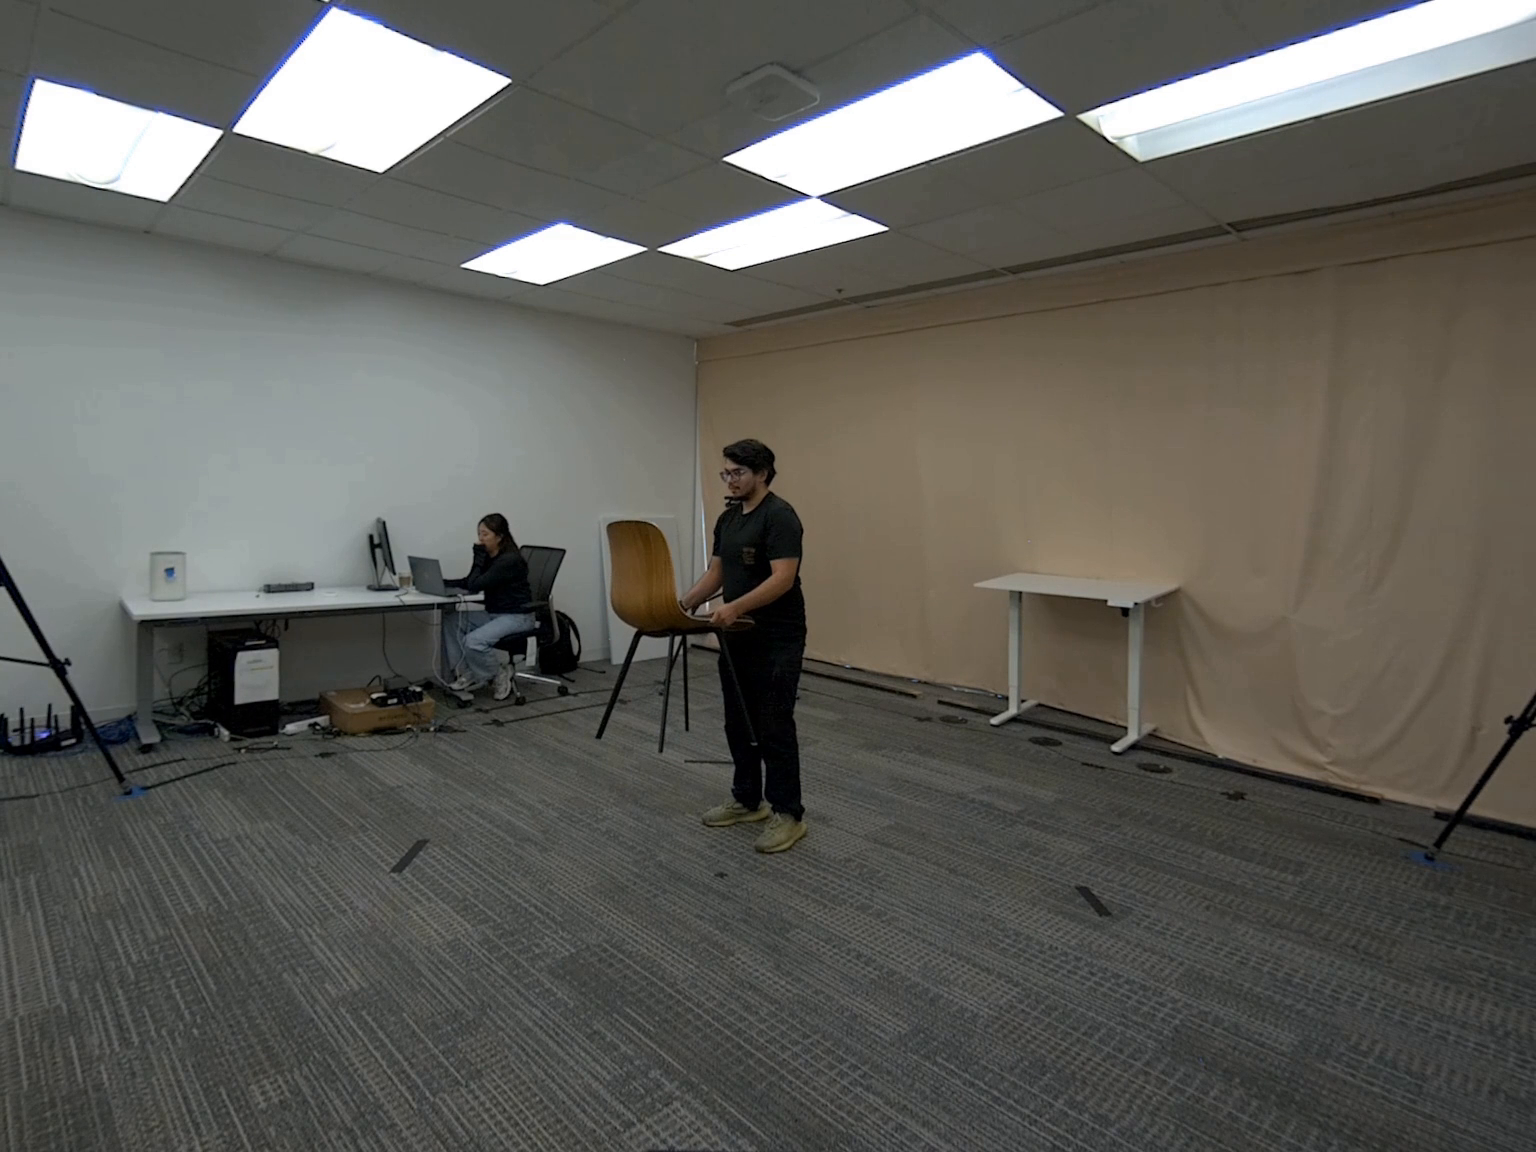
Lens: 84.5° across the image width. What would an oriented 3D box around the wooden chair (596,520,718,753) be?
[{"bbox_3d":[-0.361,0.224,3.318,0.511,0.879,0.488,0,-3,-41],"label":"wooden chair"}]
